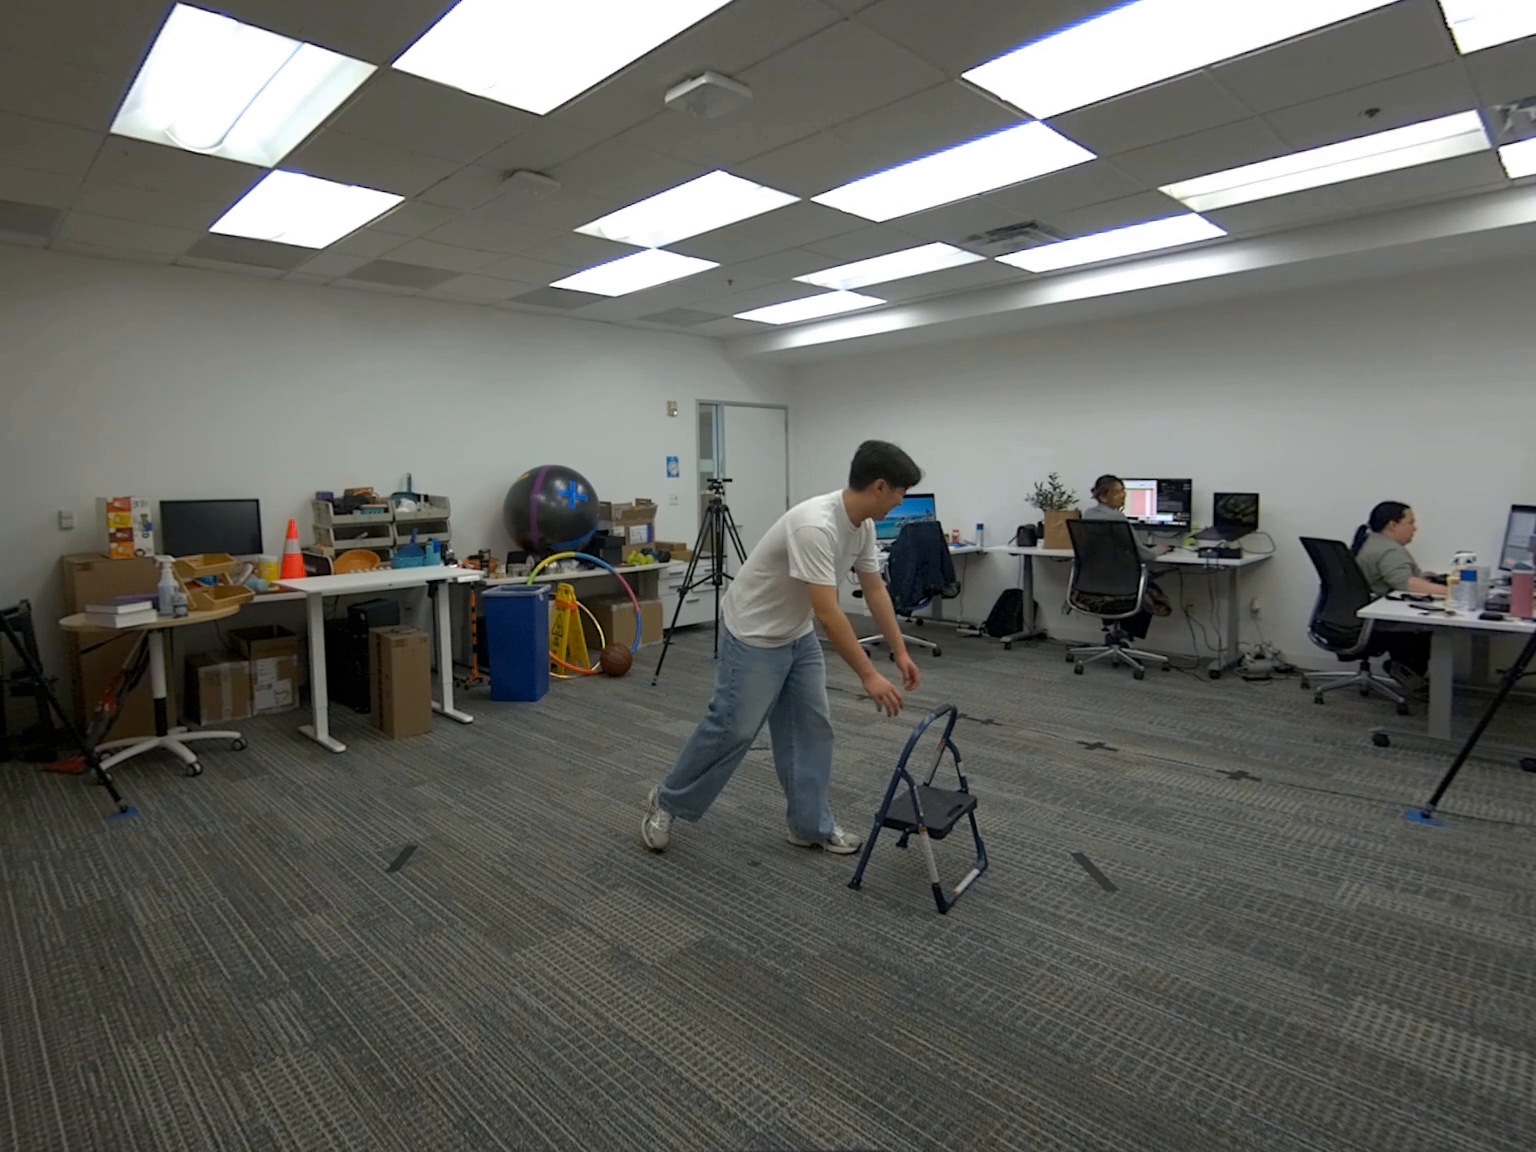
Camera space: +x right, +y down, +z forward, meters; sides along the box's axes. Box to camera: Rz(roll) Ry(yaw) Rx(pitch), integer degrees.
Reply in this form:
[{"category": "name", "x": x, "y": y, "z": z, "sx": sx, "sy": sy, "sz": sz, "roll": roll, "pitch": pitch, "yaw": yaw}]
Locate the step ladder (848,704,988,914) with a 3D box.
[{"category": "step ladder", "x": 0.531, "y": 0.749, "z": 2.958, "sx": 0.359, "sy": 0.604, "sz": 0.420, "roll": 2, "pitch": 5, "yaw": 33}]
